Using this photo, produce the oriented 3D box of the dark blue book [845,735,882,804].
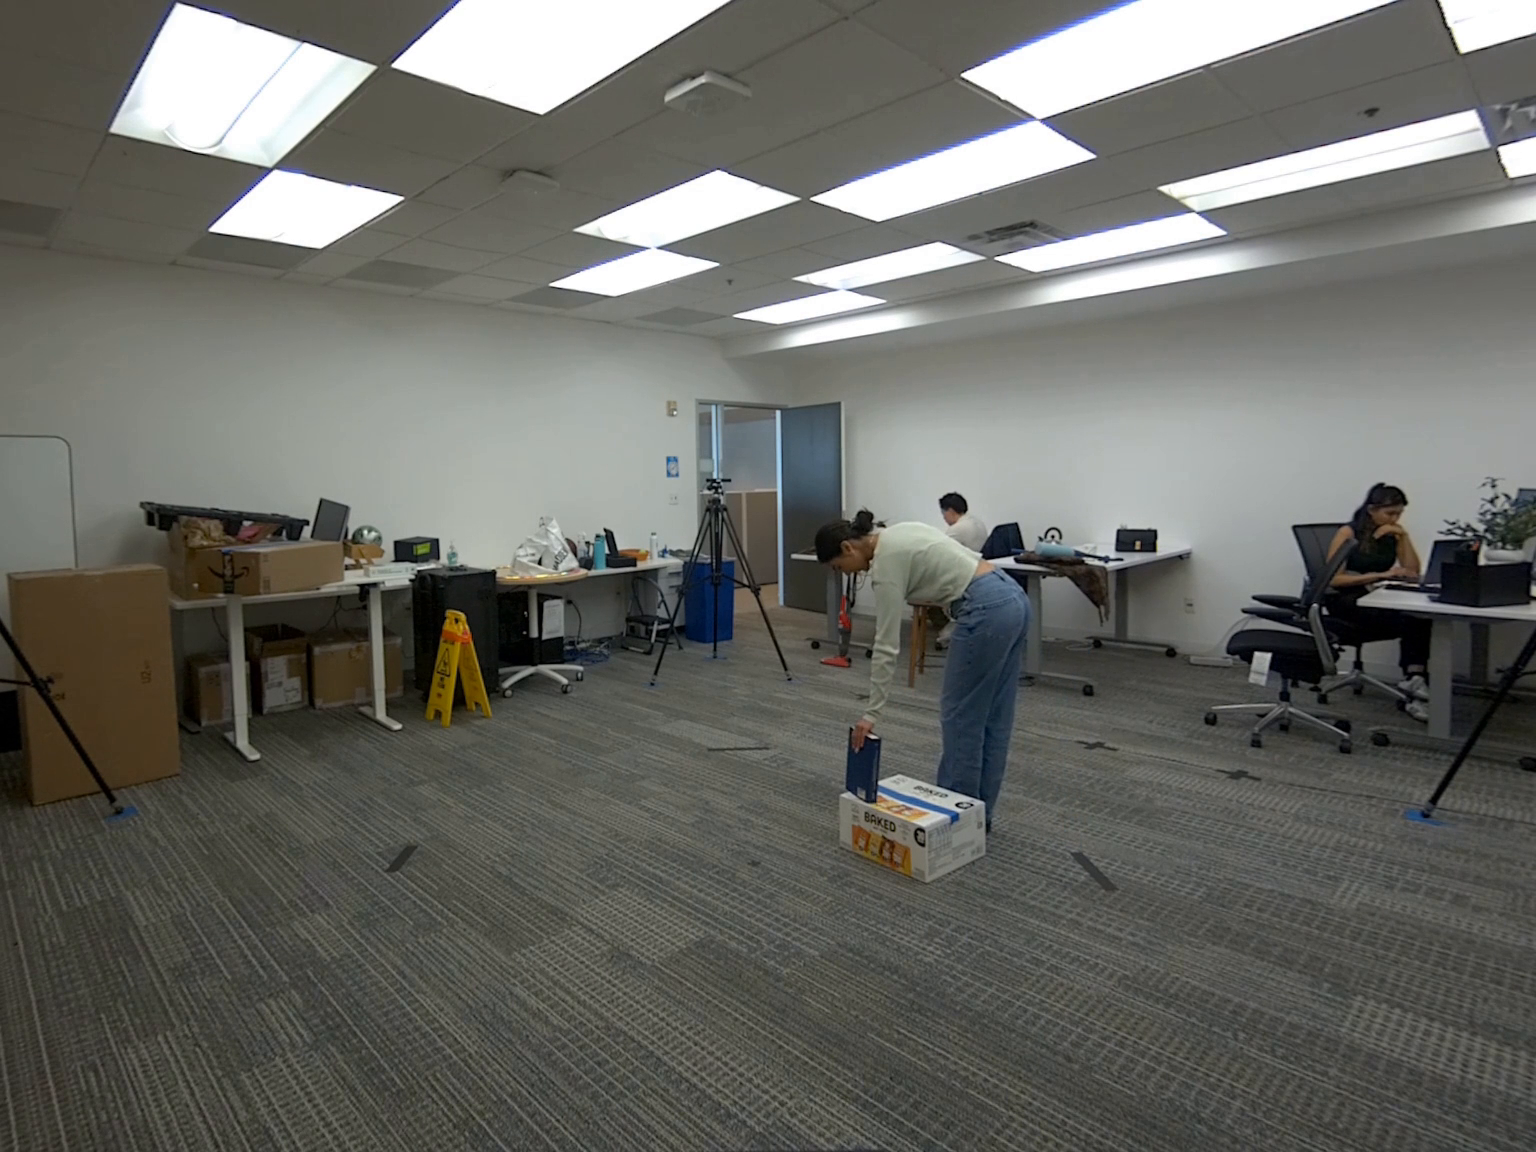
[{"bbox_3d":[0.360,0.707,3.203,0.044,0.244,0.167,2,4,-24],"label":"dark blue book"}]
